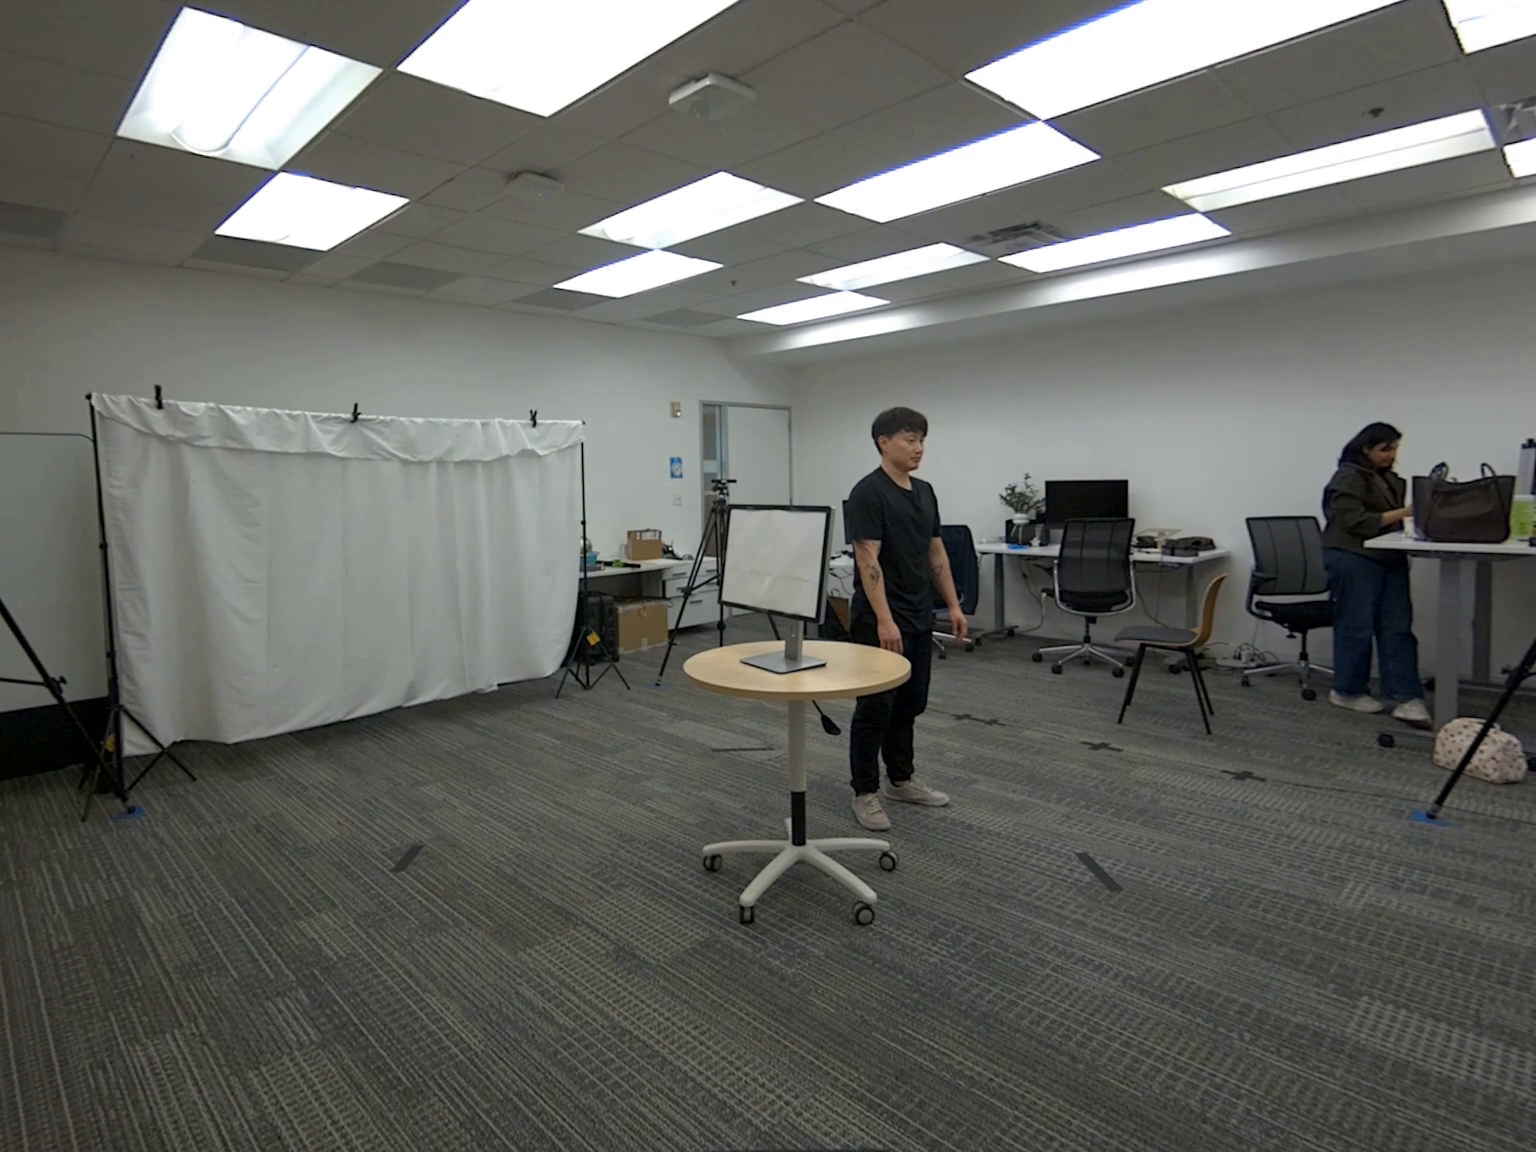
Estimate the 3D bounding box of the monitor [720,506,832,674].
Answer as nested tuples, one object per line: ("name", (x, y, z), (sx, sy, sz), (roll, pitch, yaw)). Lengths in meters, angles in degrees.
("monitor", (0.049, 0.037, 2.877), (0.182, 0.520, 0.555), (-6, 7, -37))
